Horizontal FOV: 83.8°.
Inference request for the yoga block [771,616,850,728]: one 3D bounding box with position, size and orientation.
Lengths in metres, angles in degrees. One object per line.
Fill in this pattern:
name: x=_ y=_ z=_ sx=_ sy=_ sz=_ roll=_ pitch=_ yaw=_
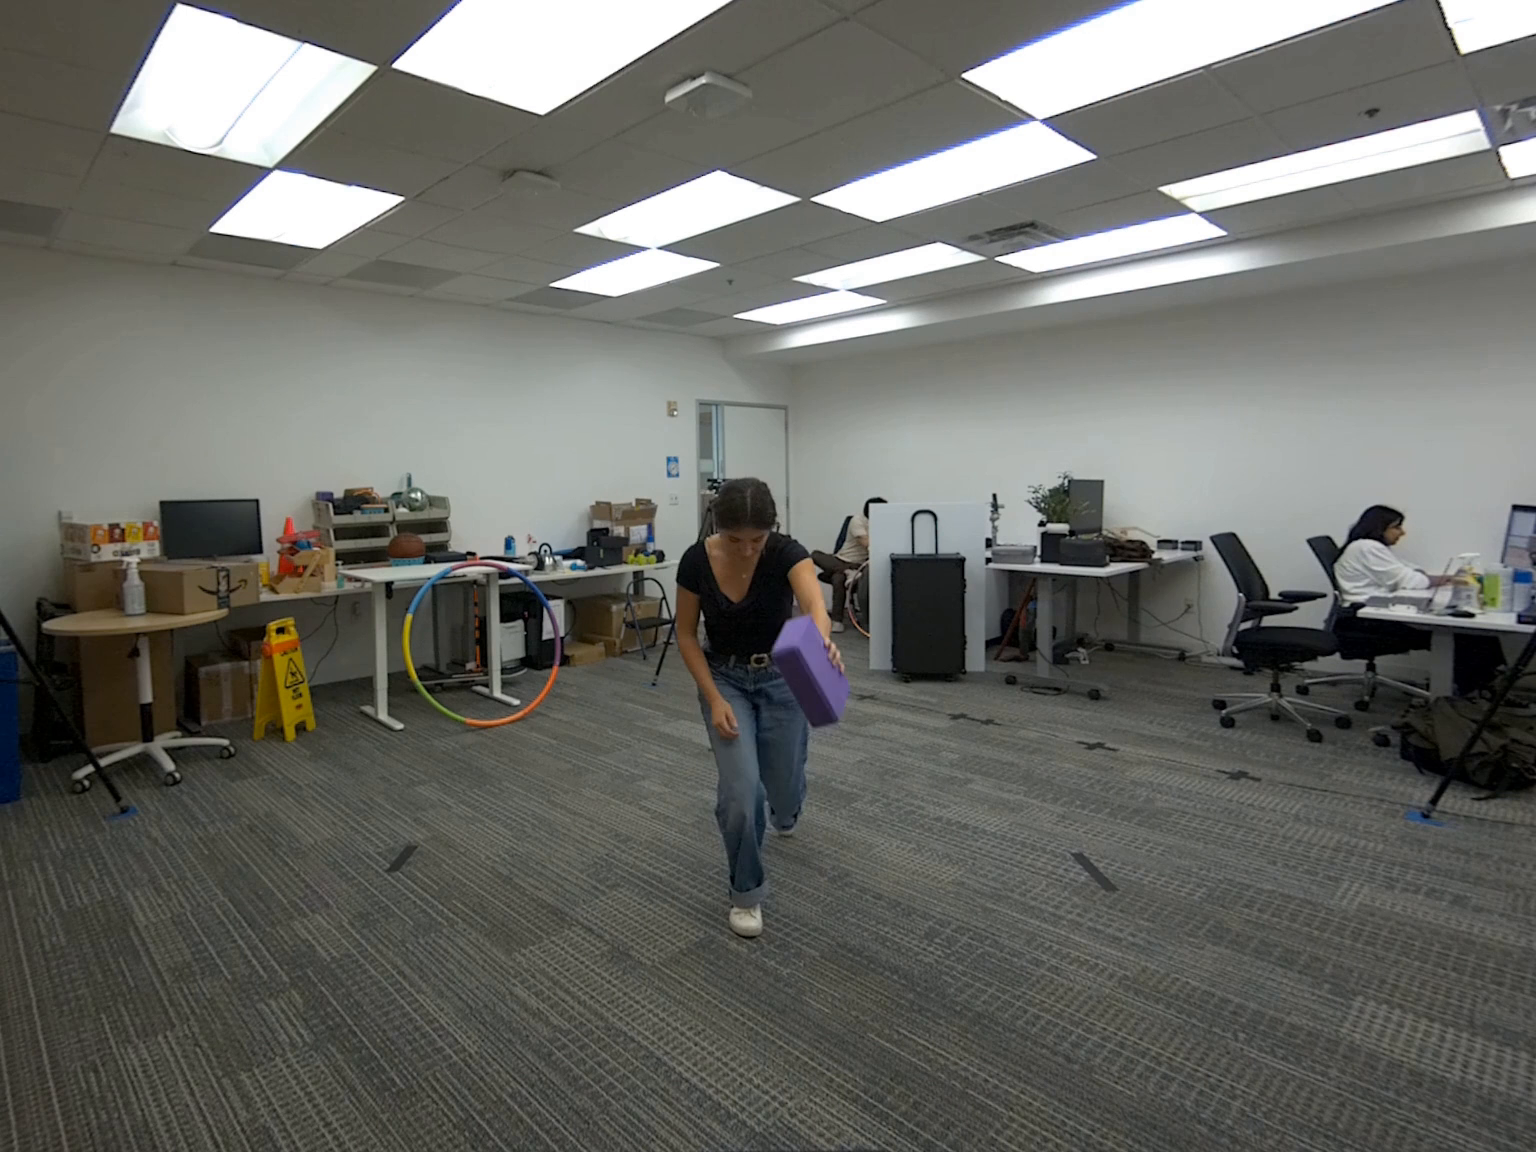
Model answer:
yoga block: x=0.108 y=0.227 z=2.081 sx=0.077 sy=0.225 sz=0.150 roll=-22 pitch=19 yaw=23
